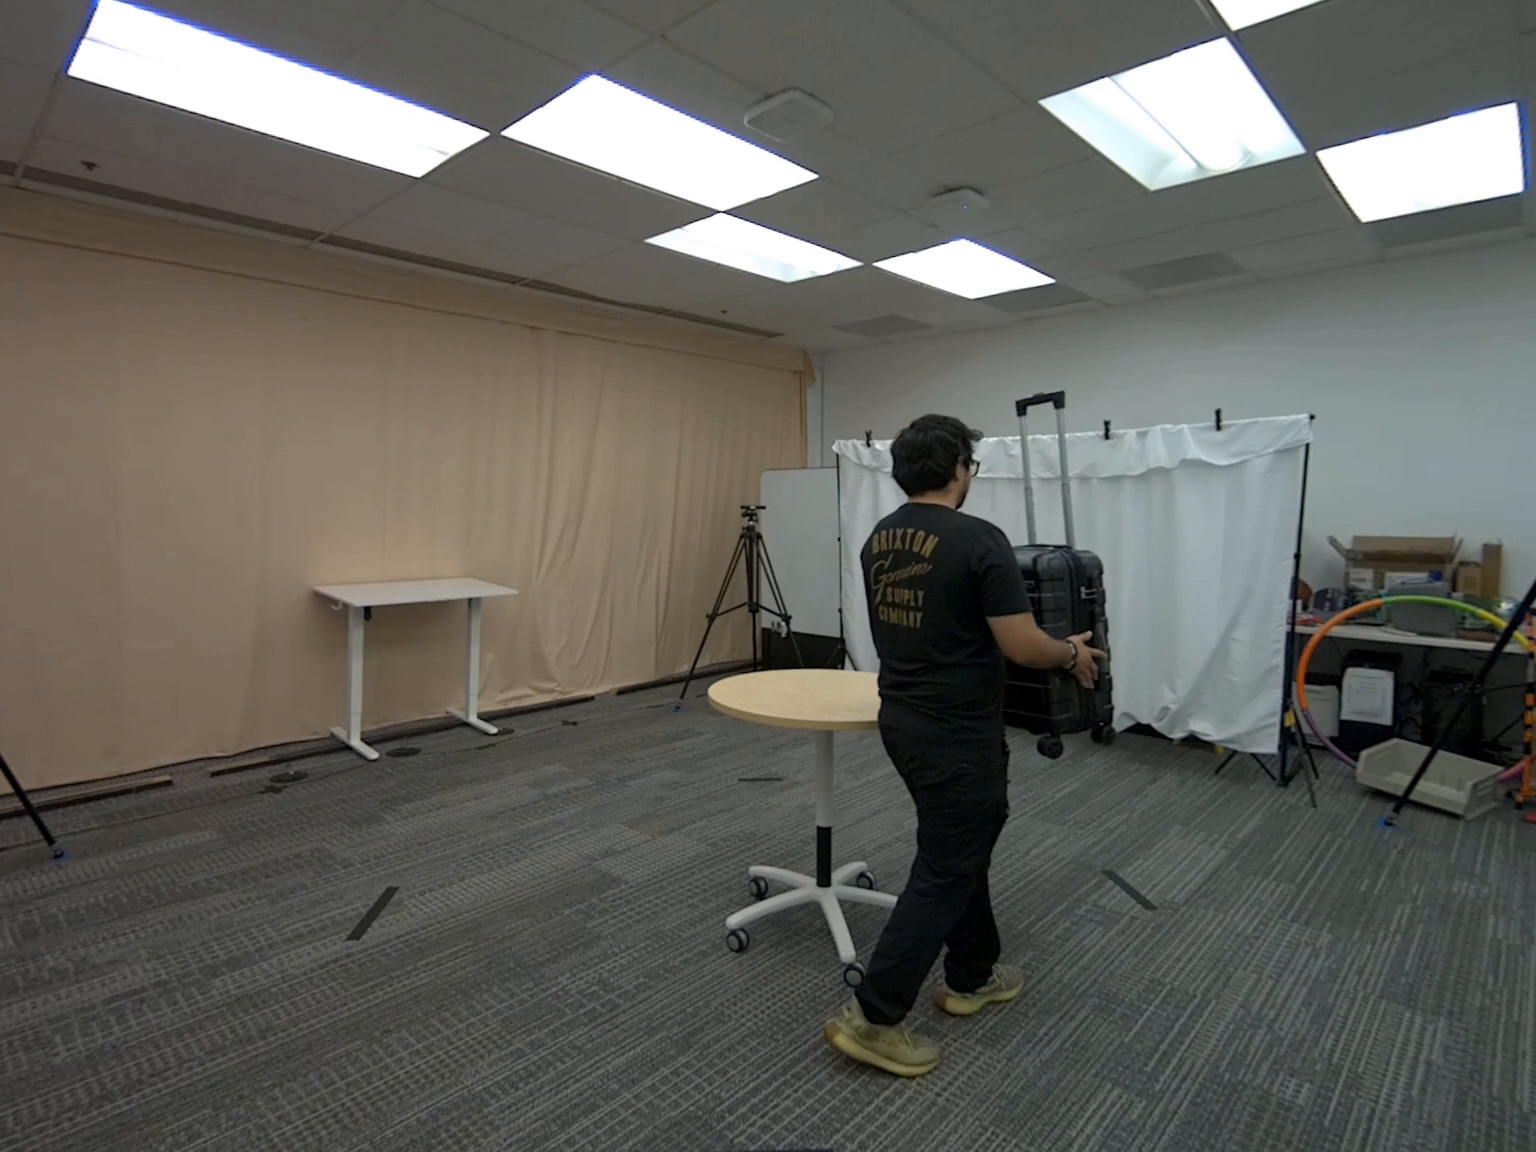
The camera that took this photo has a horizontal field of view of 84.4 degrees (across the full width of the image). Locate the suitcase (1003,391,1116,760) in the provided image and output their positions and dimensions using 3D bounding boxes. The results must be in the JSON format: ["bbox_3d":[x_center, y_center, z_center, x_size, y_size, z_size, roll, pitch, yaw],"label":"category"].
[{"bbox_3d":[0.747,-0.022,2.374,0.251,0.977,0.394,-7,2,-29],"label":"suitcase"}]
